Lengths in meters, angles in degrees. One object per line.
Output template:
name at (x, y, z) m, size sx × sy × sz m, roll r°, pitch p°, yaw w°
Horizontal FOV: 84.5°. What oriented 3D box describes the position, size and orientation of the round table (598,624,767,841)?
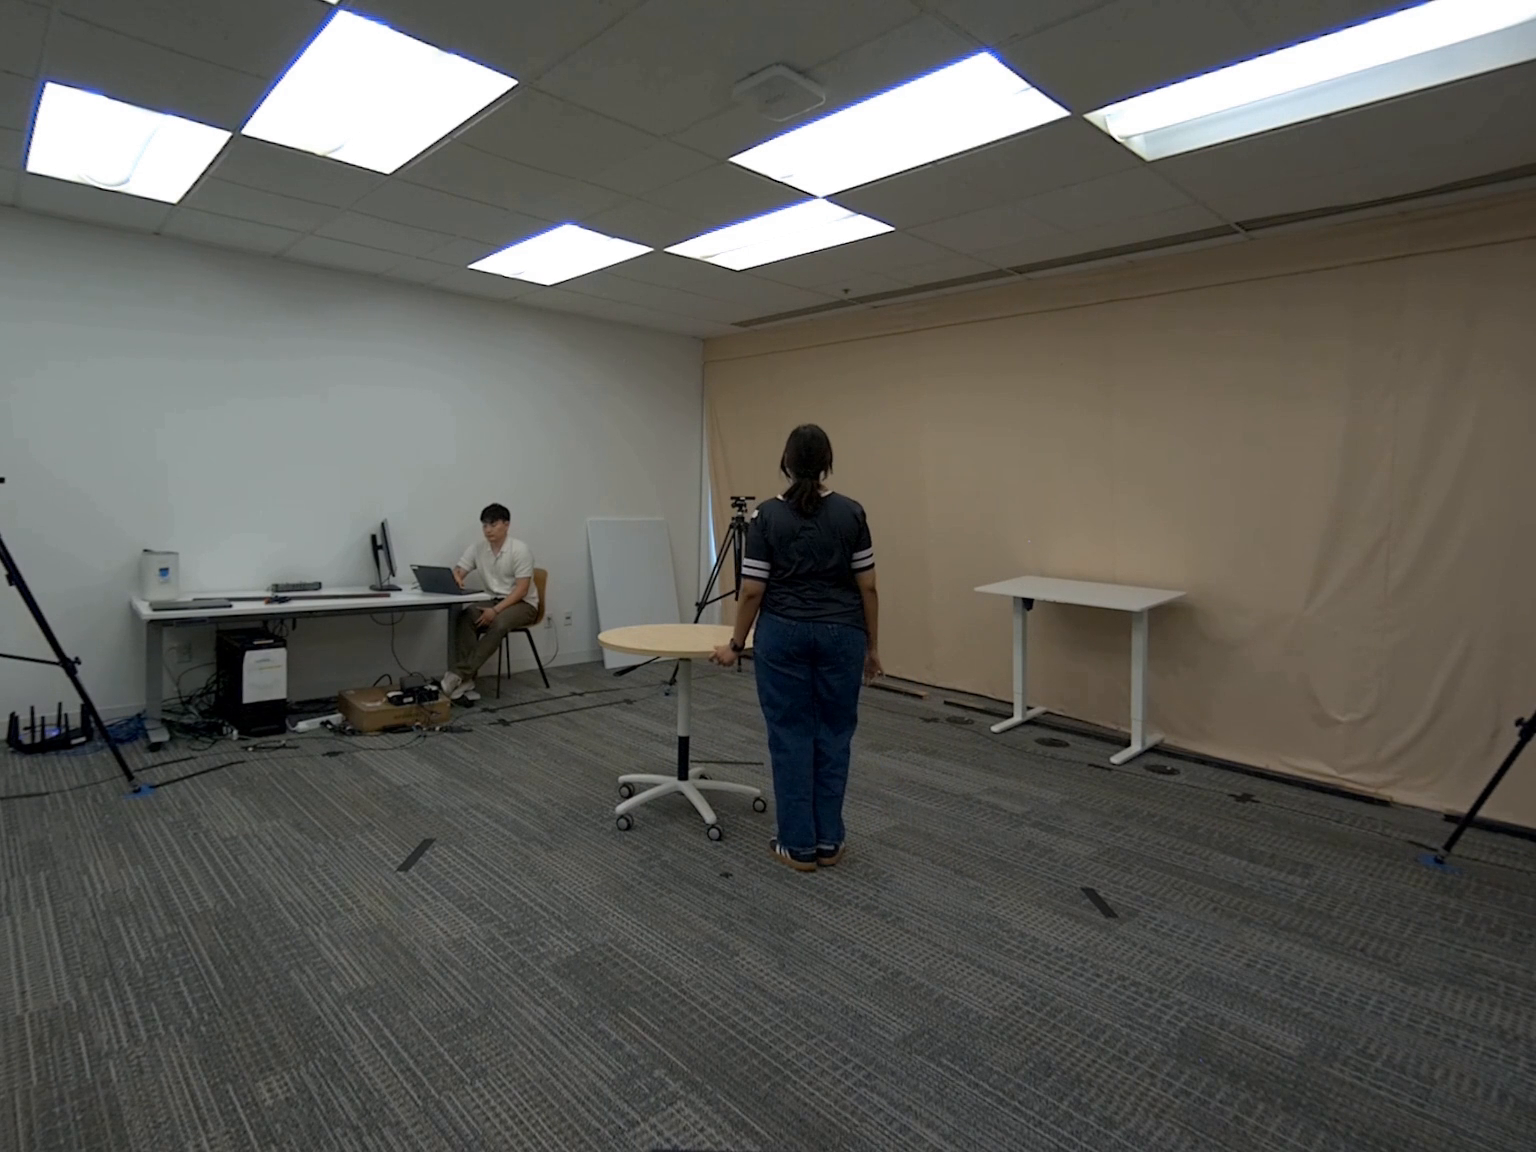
round table at (-0.363, 0.653, 3.722) m, size 0.784 × 0.785 × 0.787 m, roll 1°, pitch 4°, yaw -1°
